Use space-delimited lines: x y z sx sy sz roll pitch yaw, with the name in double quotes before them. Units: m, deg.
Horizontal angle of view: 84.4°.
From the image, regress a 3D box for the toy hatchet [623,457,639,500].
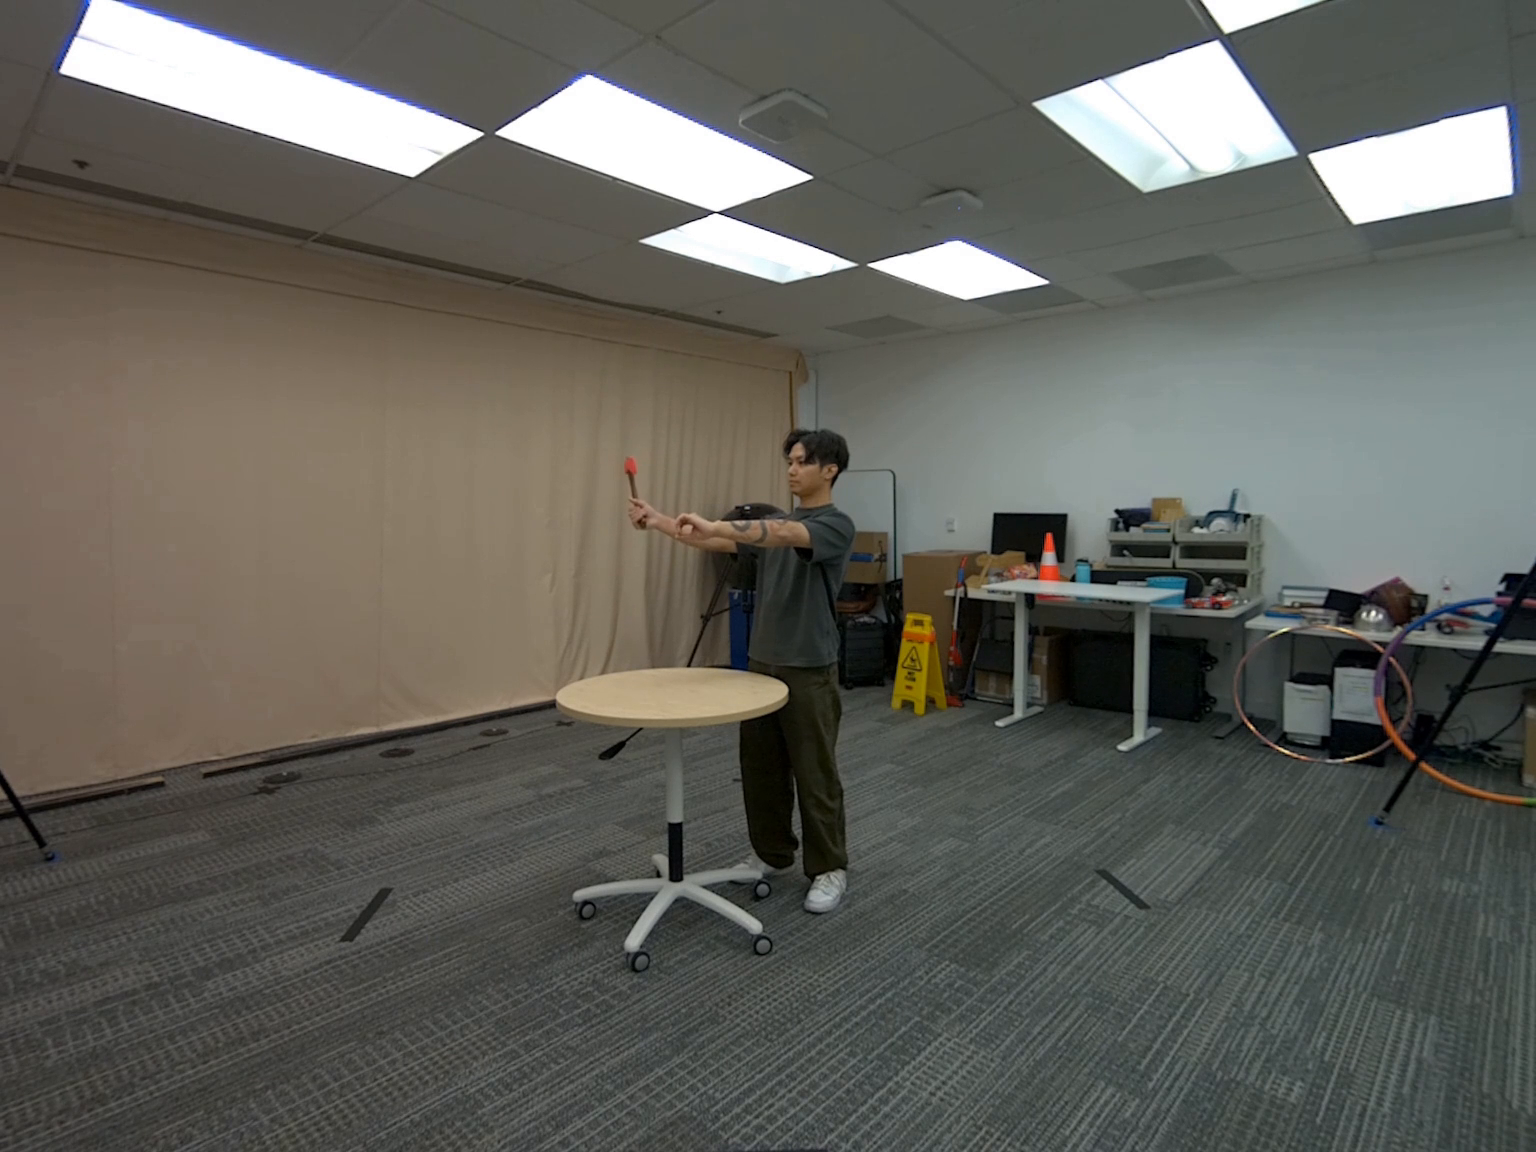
"toy hatchet" -0.460 -0.301 2.963 0.029 0.277 0.131 -6 -33 -25
